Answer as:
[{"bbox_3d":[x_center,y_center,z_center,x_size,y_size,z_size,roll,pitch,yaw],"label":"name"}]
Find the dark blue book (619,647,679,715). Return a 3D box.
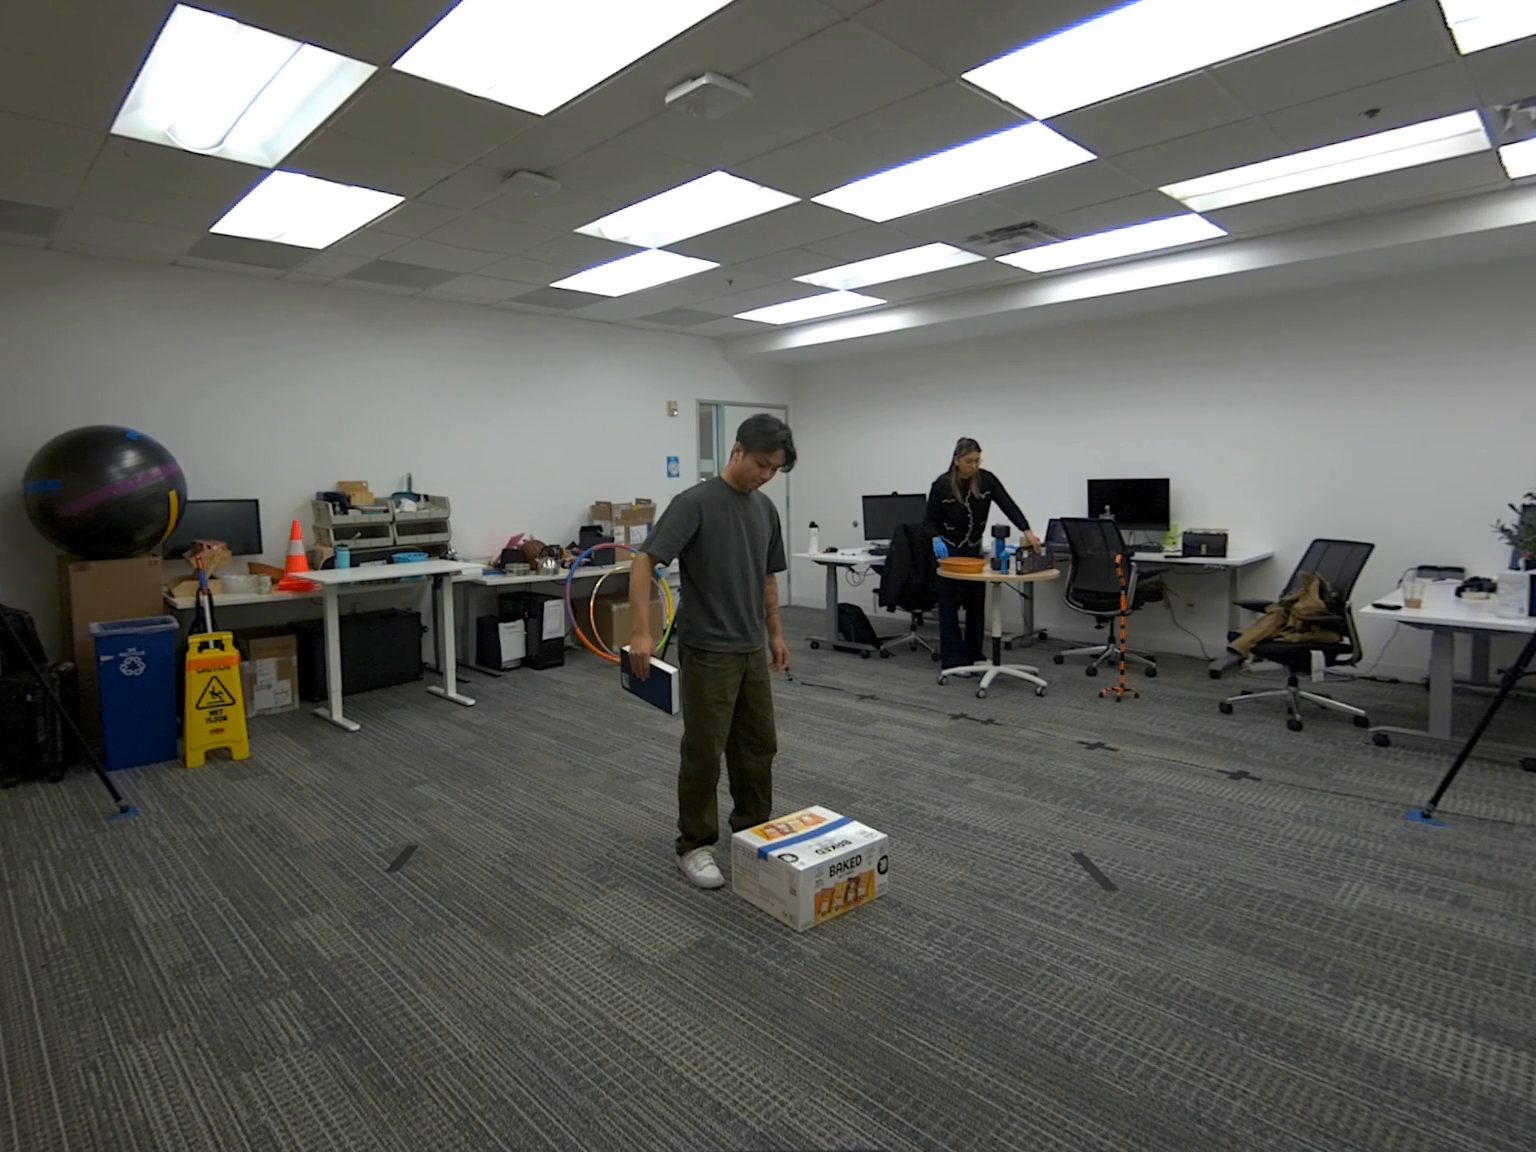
[{"bbox_3d":[-0.388,0.338,2.825,0.254,0.160,0.044,20,30,36],"label":"dark blue book"}]
